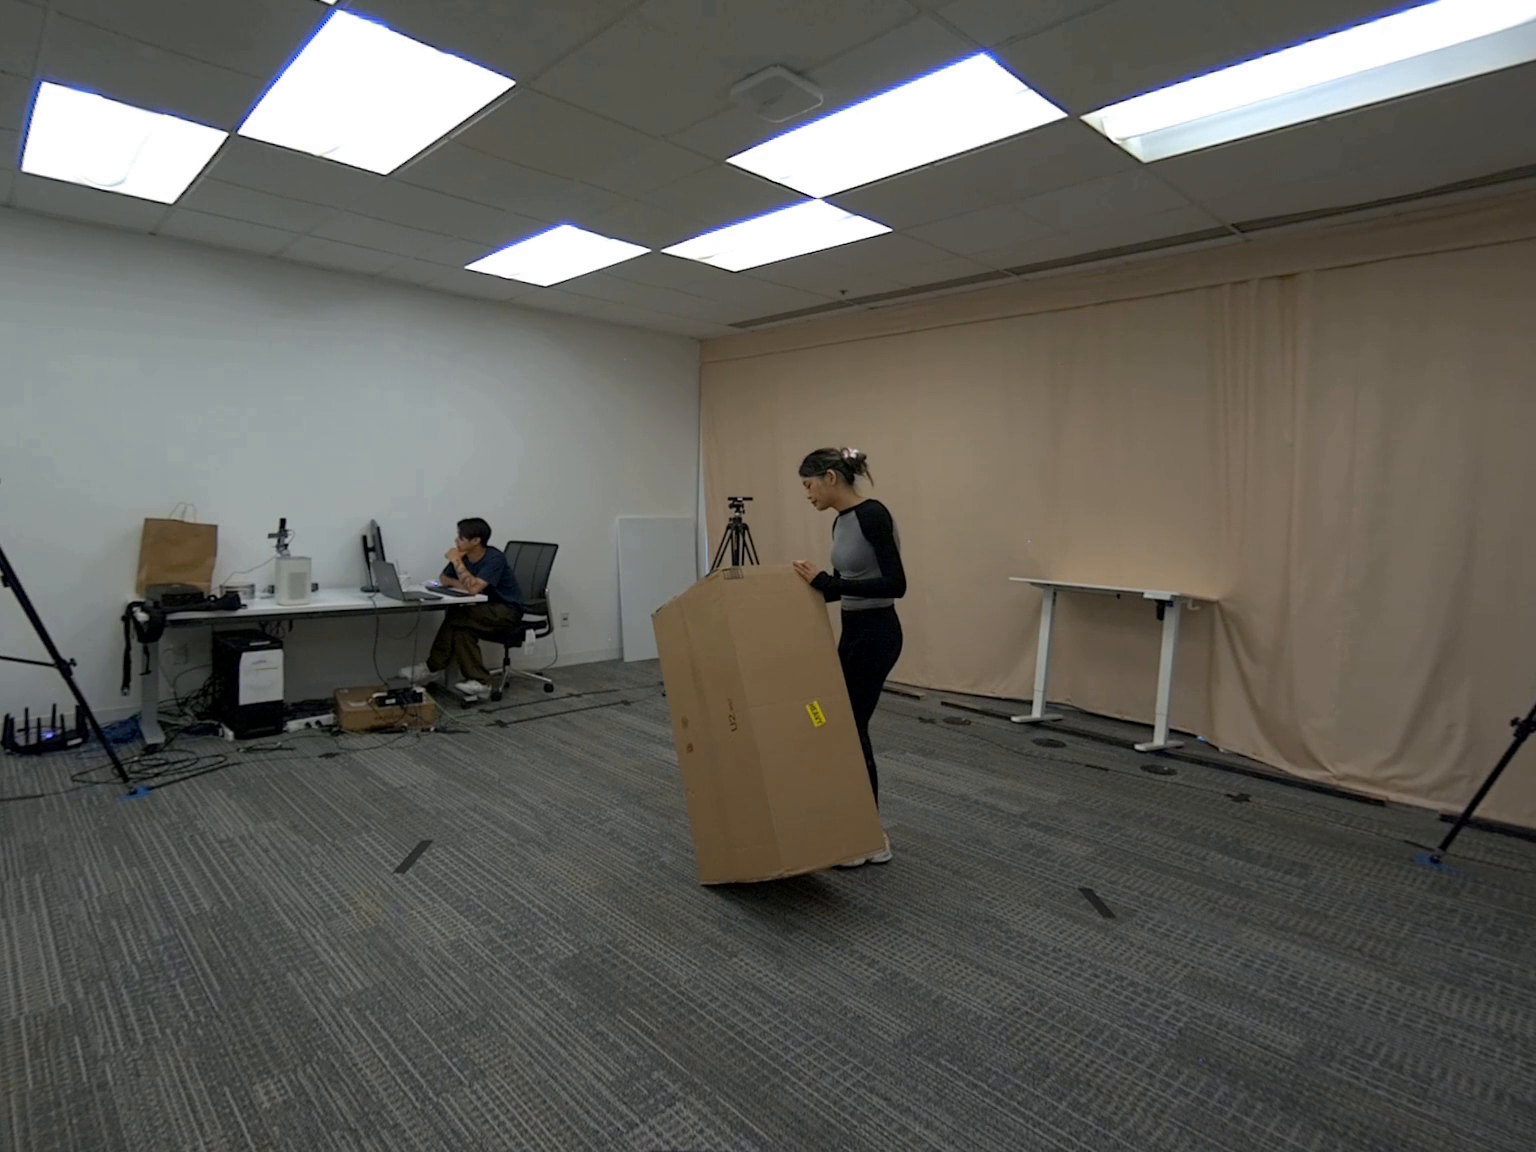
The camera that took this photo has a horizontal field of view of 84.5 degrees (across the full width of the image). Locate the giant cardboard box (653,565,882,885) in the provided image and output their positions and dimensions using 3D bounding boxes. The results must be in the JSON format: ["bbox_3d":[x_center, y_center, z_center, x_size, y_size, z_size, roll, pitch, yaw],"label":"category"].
[{"bbox_3d":[-0.037,0.541,3.068,0.437,1.043,0.588,-2,-20,-34],"label":"giant cardboard box"}]
